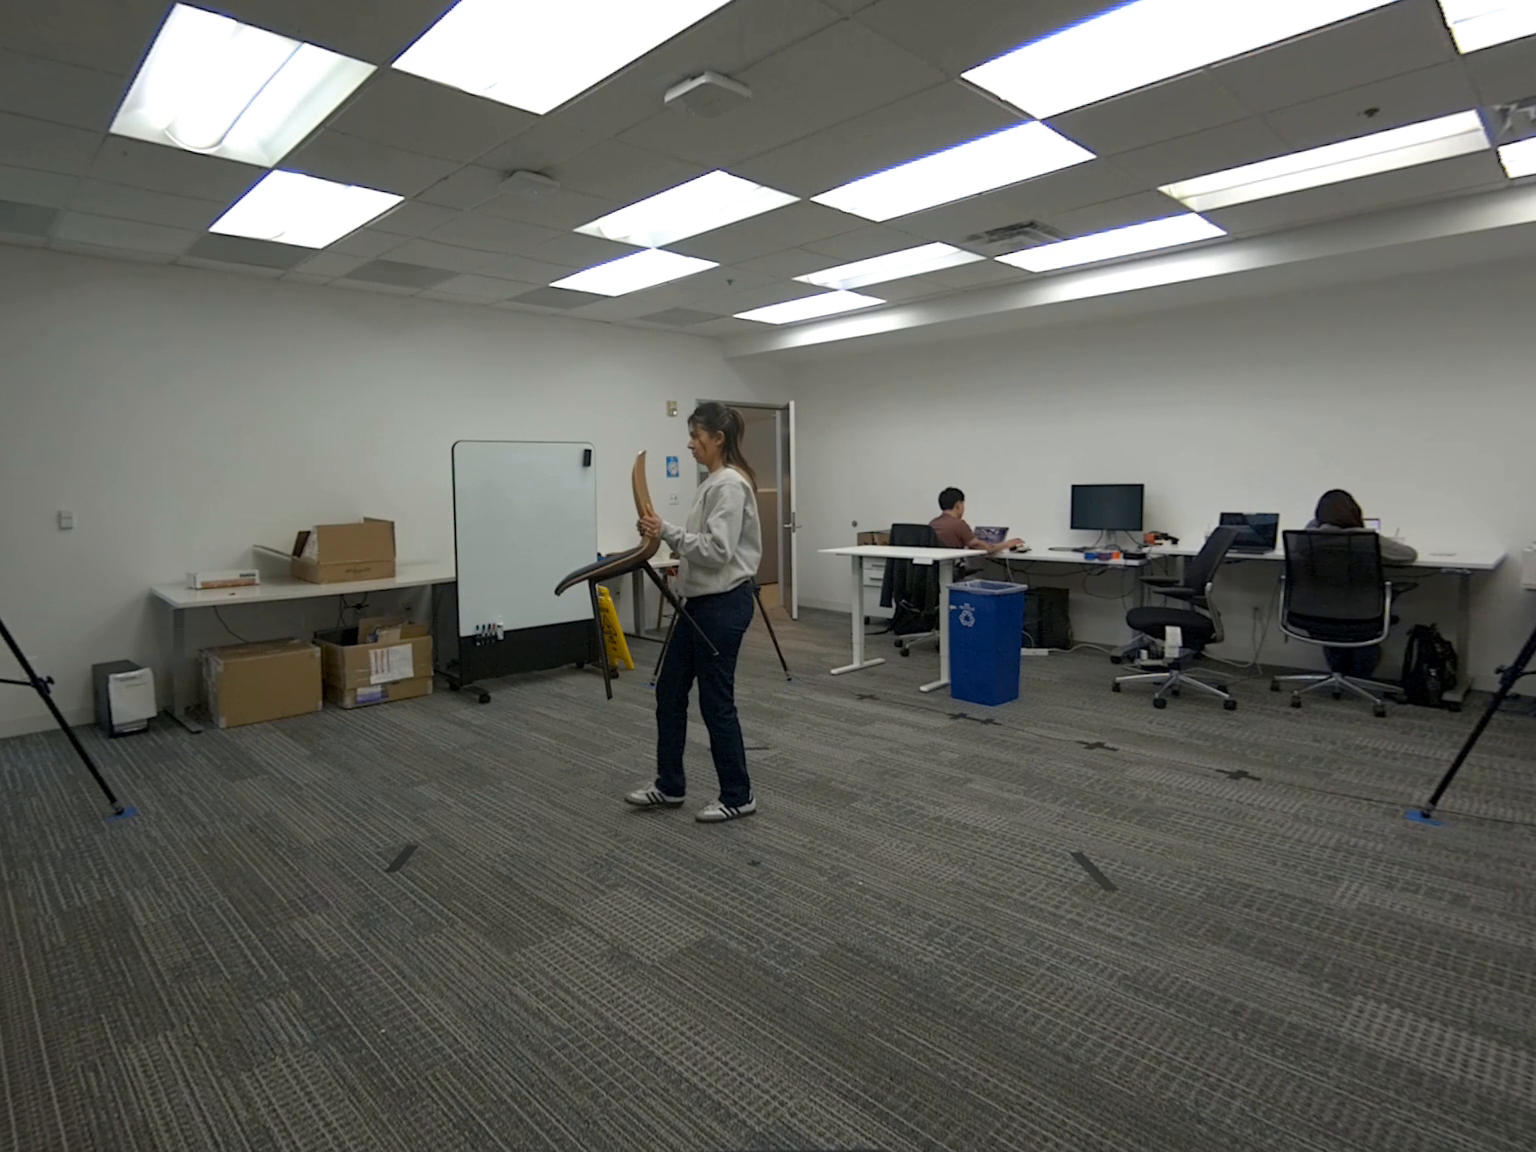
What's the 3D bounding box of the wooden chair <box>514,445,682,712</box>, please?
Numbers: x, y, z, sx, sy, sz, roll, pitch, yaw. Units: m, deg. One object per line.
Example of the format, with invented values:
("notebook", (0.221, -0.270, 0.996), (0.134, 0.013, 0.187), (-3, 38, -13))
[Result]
("wooden chair", (-0.609, -0.007, 3.464), (0.520, 0.874, 0.482), (-19, 3, -9))
